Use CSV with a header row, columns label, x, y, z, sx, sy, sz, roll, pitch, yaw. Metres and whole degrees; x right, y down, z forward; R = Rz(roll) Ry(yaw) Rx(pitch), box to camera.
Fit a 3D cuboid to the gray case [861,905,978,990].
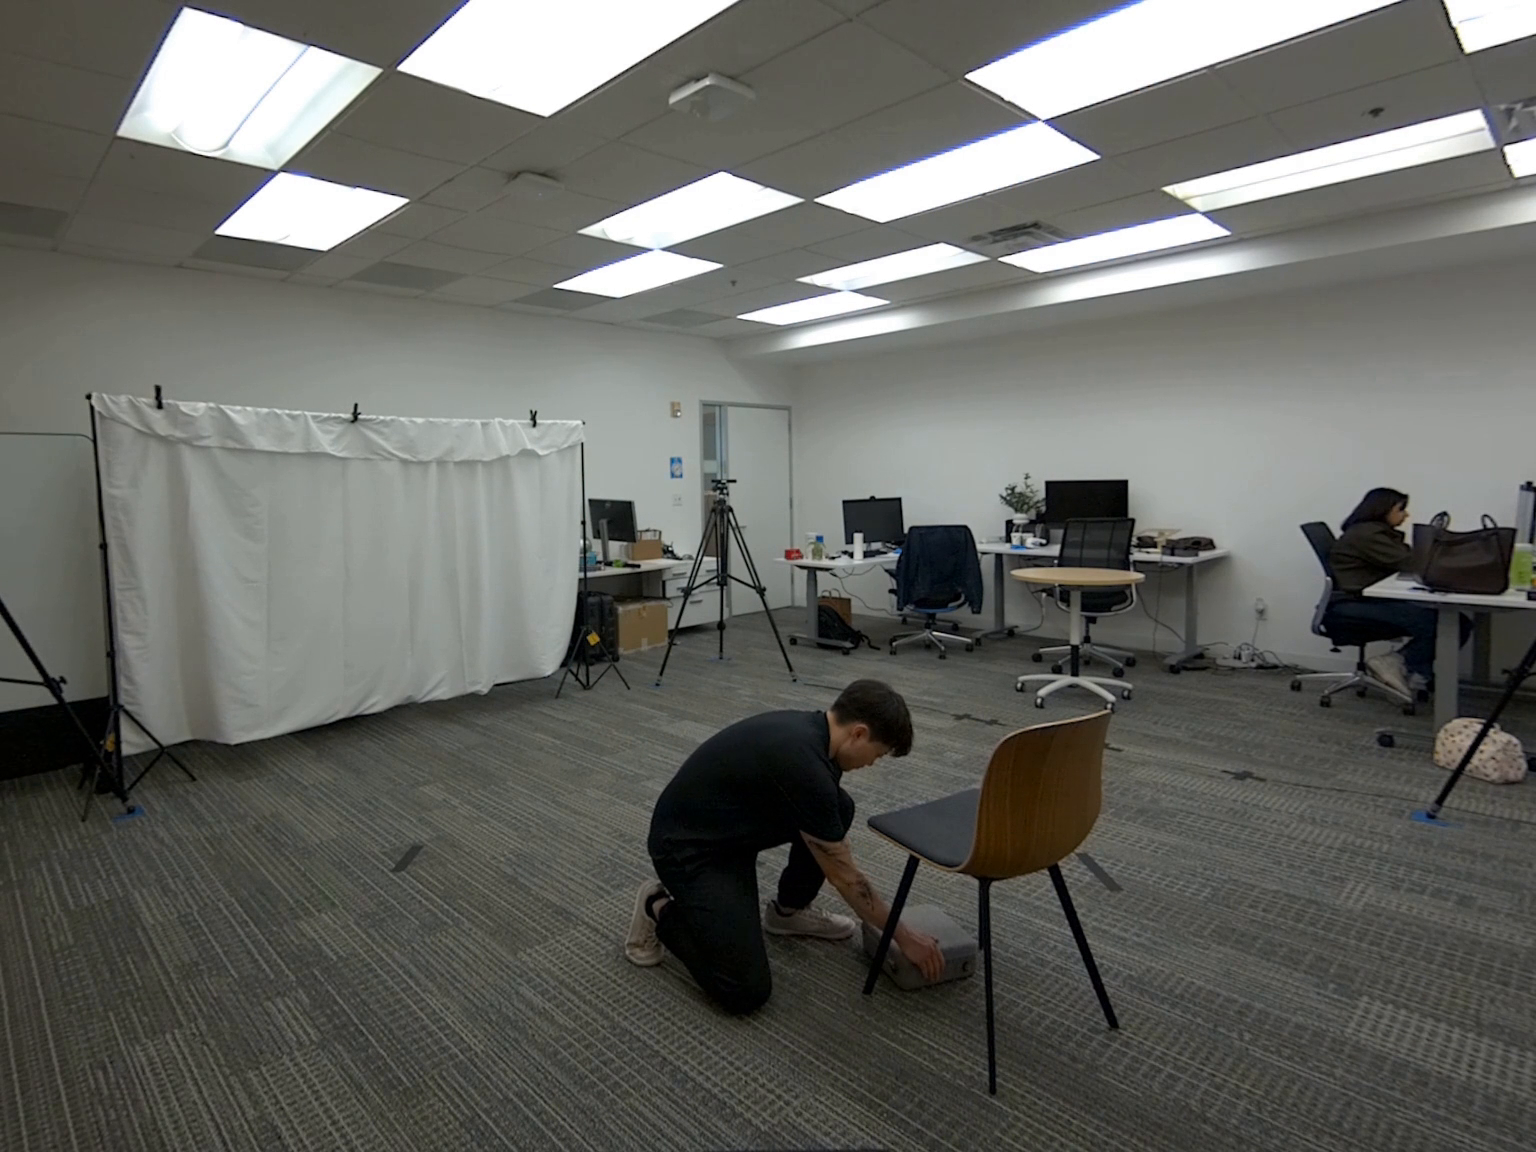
label,x,y,z,sx,sy,sz,roll,pitch,yaw
gray case,0.441,1.049,2.463,0.256,0.104,0.262,-1,6,-18
